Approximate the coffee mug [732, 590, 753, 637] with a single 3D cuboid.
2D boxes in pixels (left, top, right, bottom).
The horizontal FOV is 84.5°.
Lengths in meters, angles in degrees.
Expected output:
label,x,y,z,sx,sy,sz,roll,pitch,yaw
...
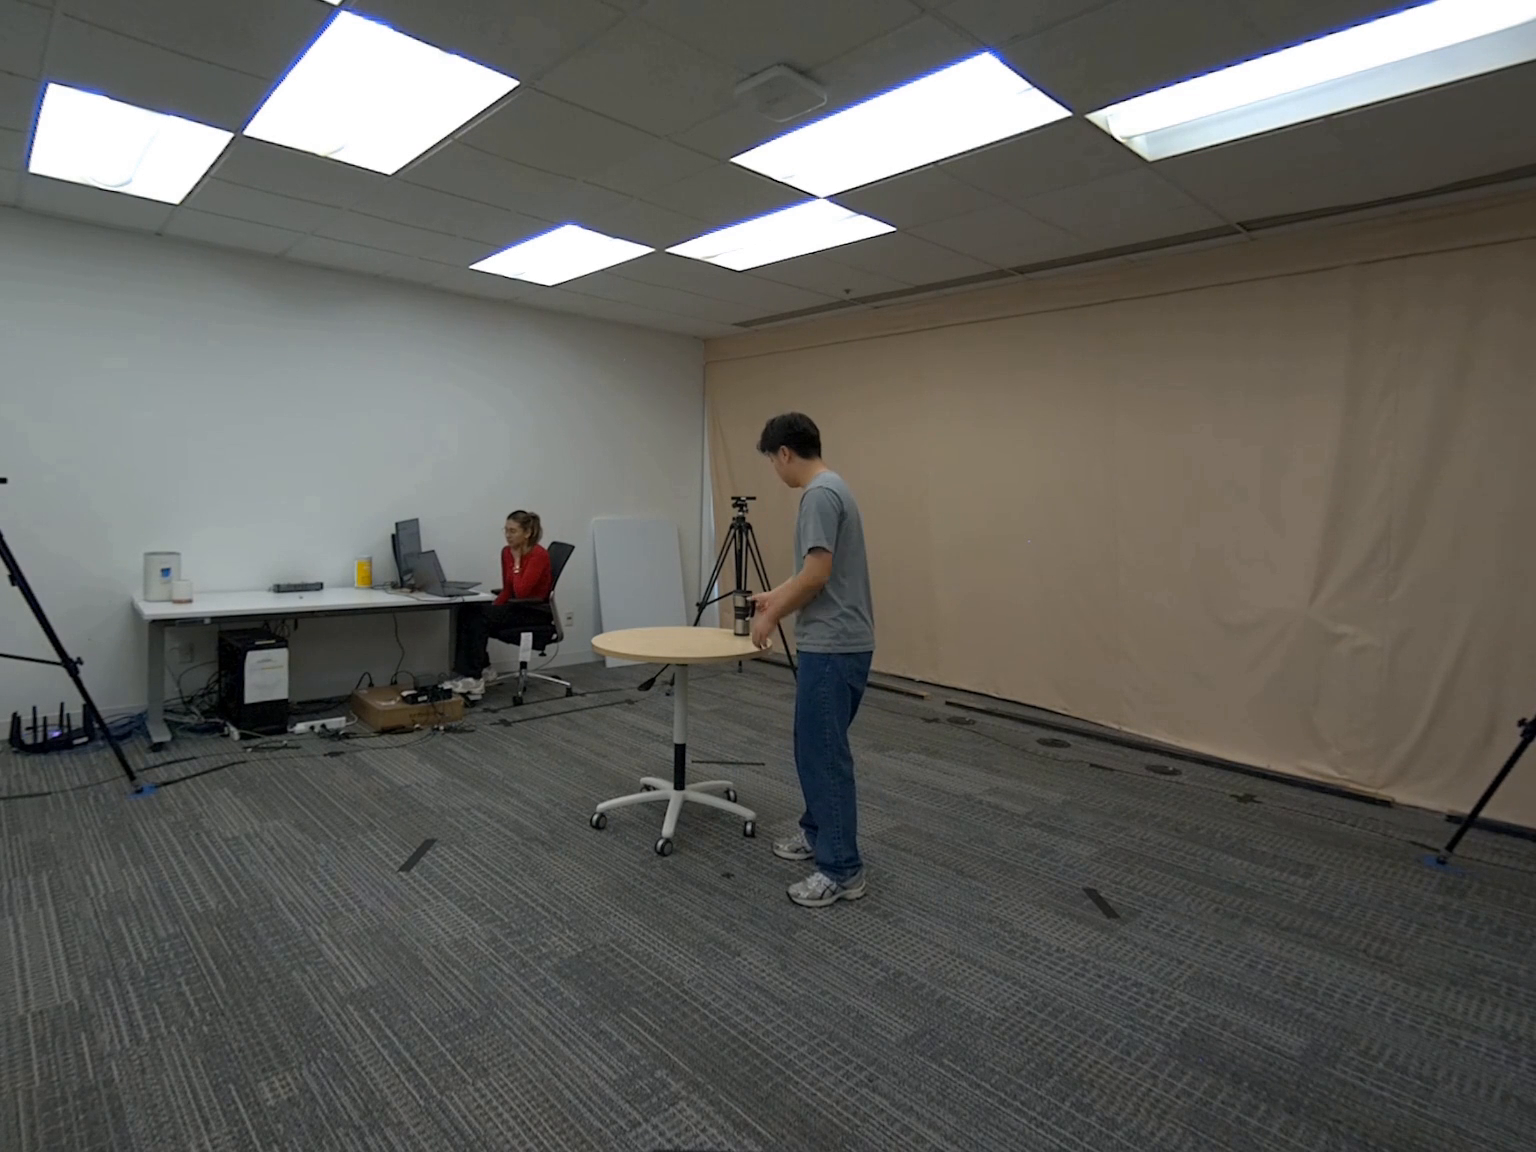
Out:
label,x,y,z,sx,sy,sz,roll,pitch,yaw
coffee mug,-0.118,0.165,3.727,0.087,0.203,0.123,2,-1,-9
